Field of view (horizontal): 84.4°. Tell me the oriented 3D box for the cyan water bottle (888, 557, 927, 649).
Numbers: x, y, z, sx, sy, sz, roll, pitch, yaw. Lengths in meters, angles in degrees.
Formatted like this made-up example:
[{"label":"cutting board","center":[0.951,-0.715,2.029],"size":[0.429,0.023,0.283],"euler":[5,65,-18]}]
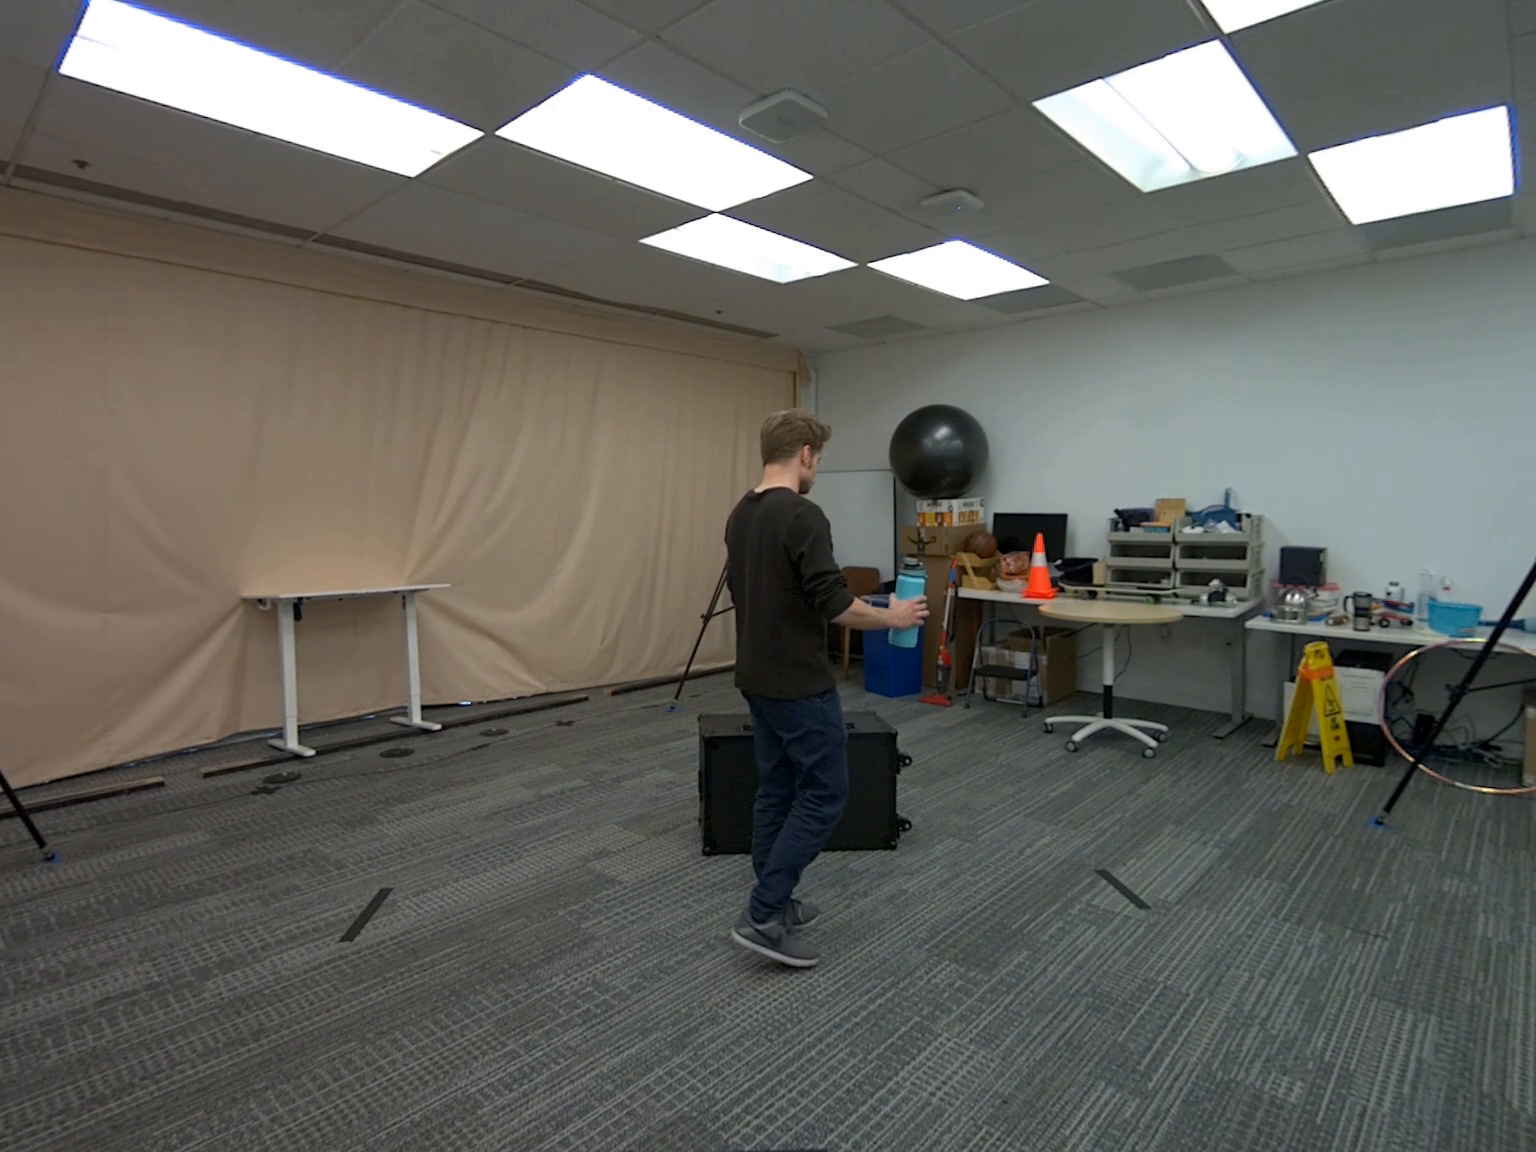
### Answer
[{"label":"cyan water bottle","center":[0.462,0.085,2.730],"size":[0.092,0.283,0.093],"euler":[9,4,-3]}]
